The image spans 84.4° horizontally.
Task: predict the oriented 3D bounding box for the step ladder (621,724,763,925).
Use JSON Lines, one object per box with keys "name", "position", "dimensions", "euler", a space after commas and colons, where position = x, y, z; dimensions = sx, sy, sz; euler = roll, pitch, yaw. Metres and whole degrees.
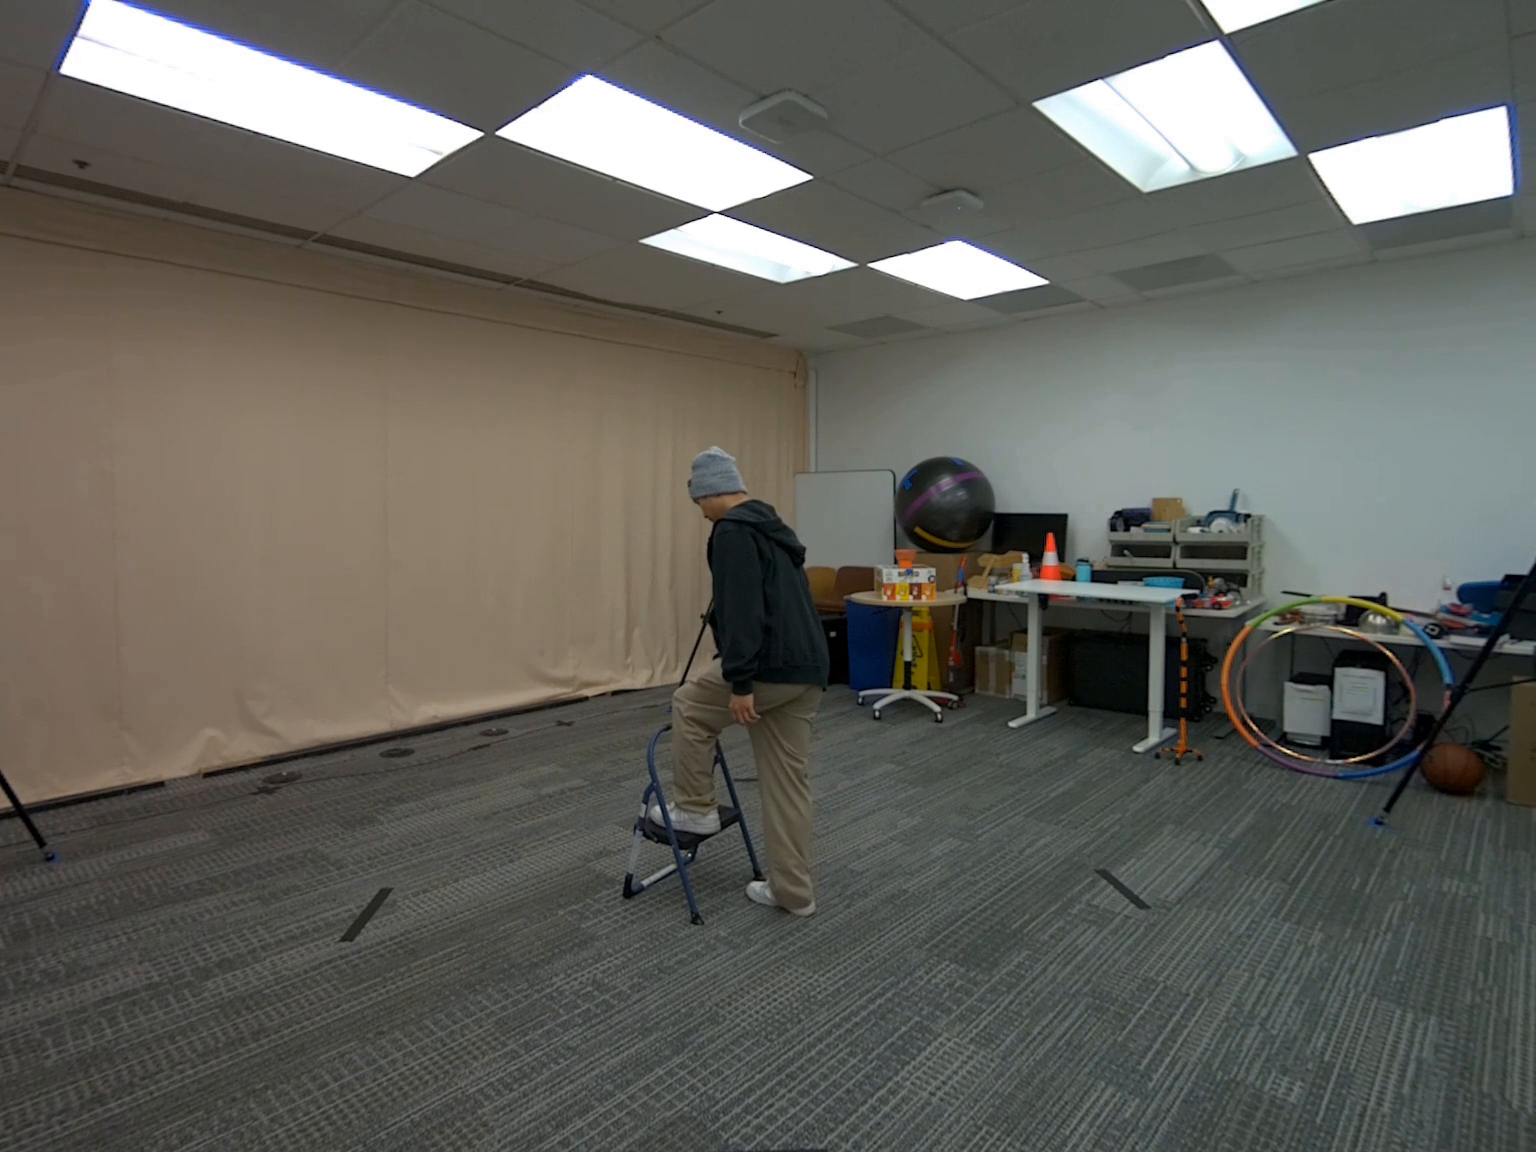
{"name": "step ladder", "position": [-0.270, 0.838, 3.054], "dimensions": [0.360, 0.605, 0.419], "euler": [1, 4, 32]}
